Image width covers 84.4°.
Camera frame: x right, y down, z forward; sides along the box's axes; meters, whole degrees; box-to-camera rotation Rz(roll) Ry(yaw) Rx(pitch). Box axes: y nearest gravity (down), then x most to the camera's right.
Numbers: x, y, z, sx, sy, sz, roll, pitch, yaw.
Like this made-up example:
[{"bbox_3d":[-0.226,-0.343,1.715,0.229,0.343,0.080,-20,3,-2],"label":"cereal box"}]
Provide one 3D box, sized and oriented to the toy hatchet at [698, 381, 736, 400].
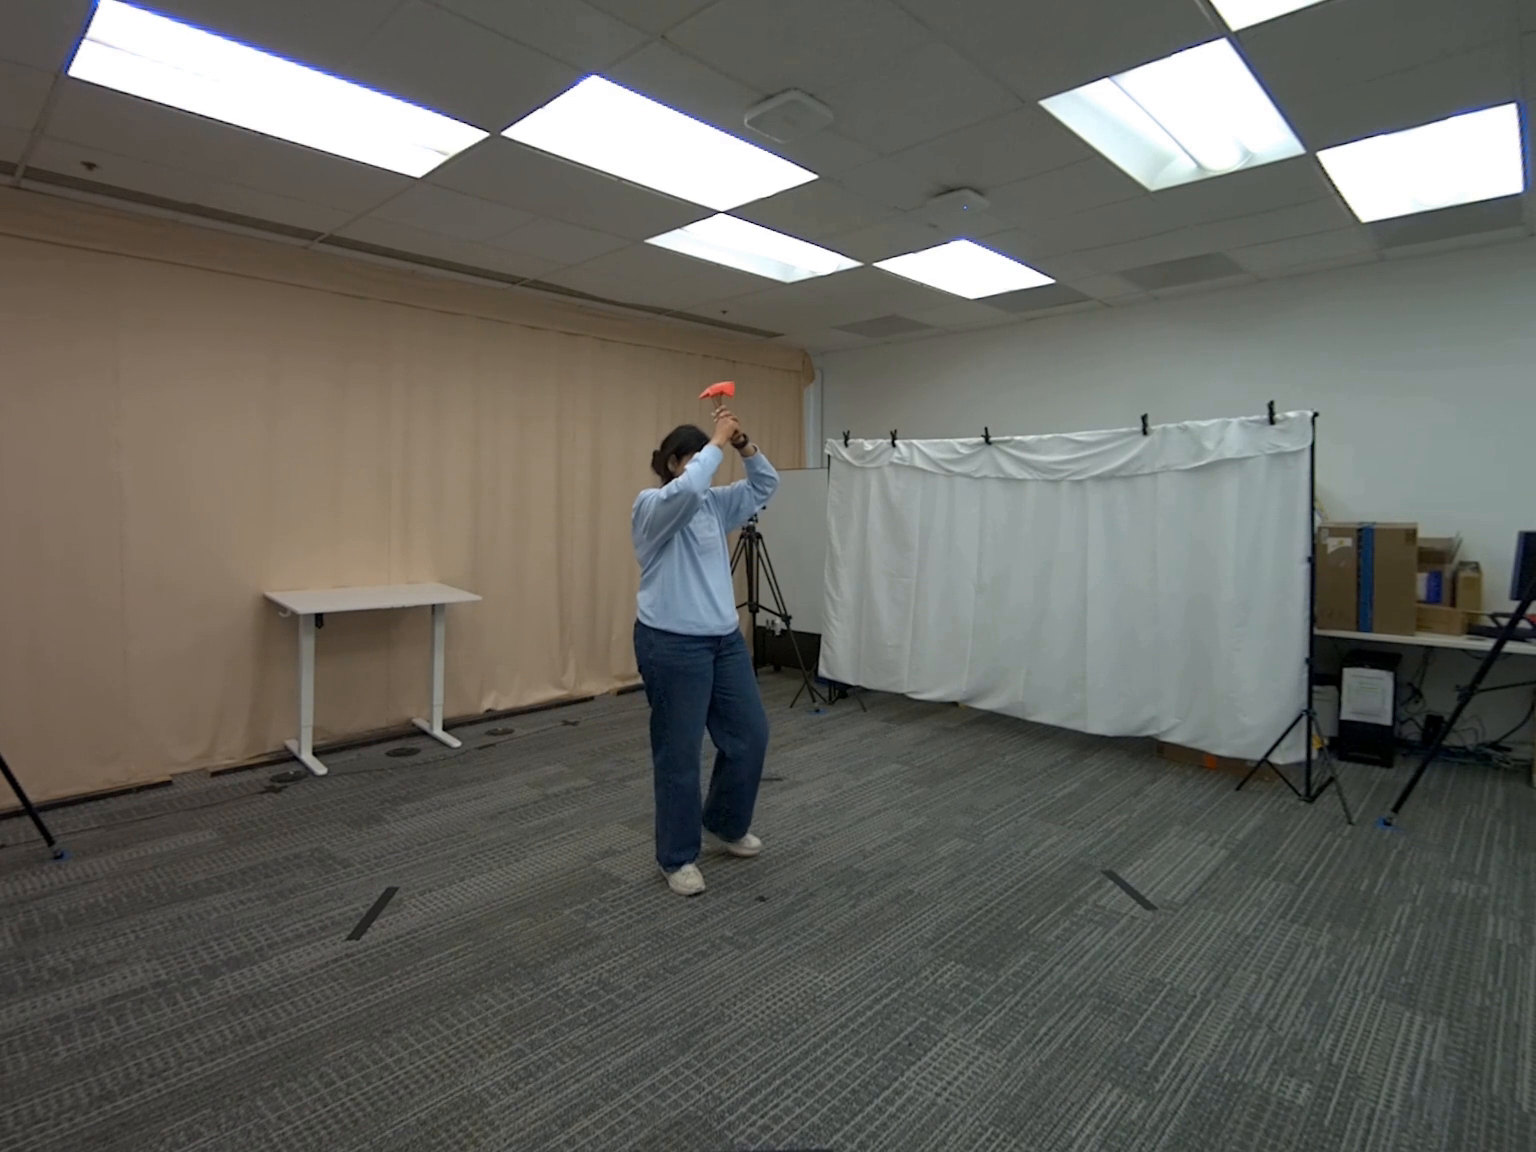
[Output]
[{"bbox_3d":[-0.120,-0.589,2.967,0.131,0.278,0.029,-36,-30,1],"label":"toy hatchet"}]
